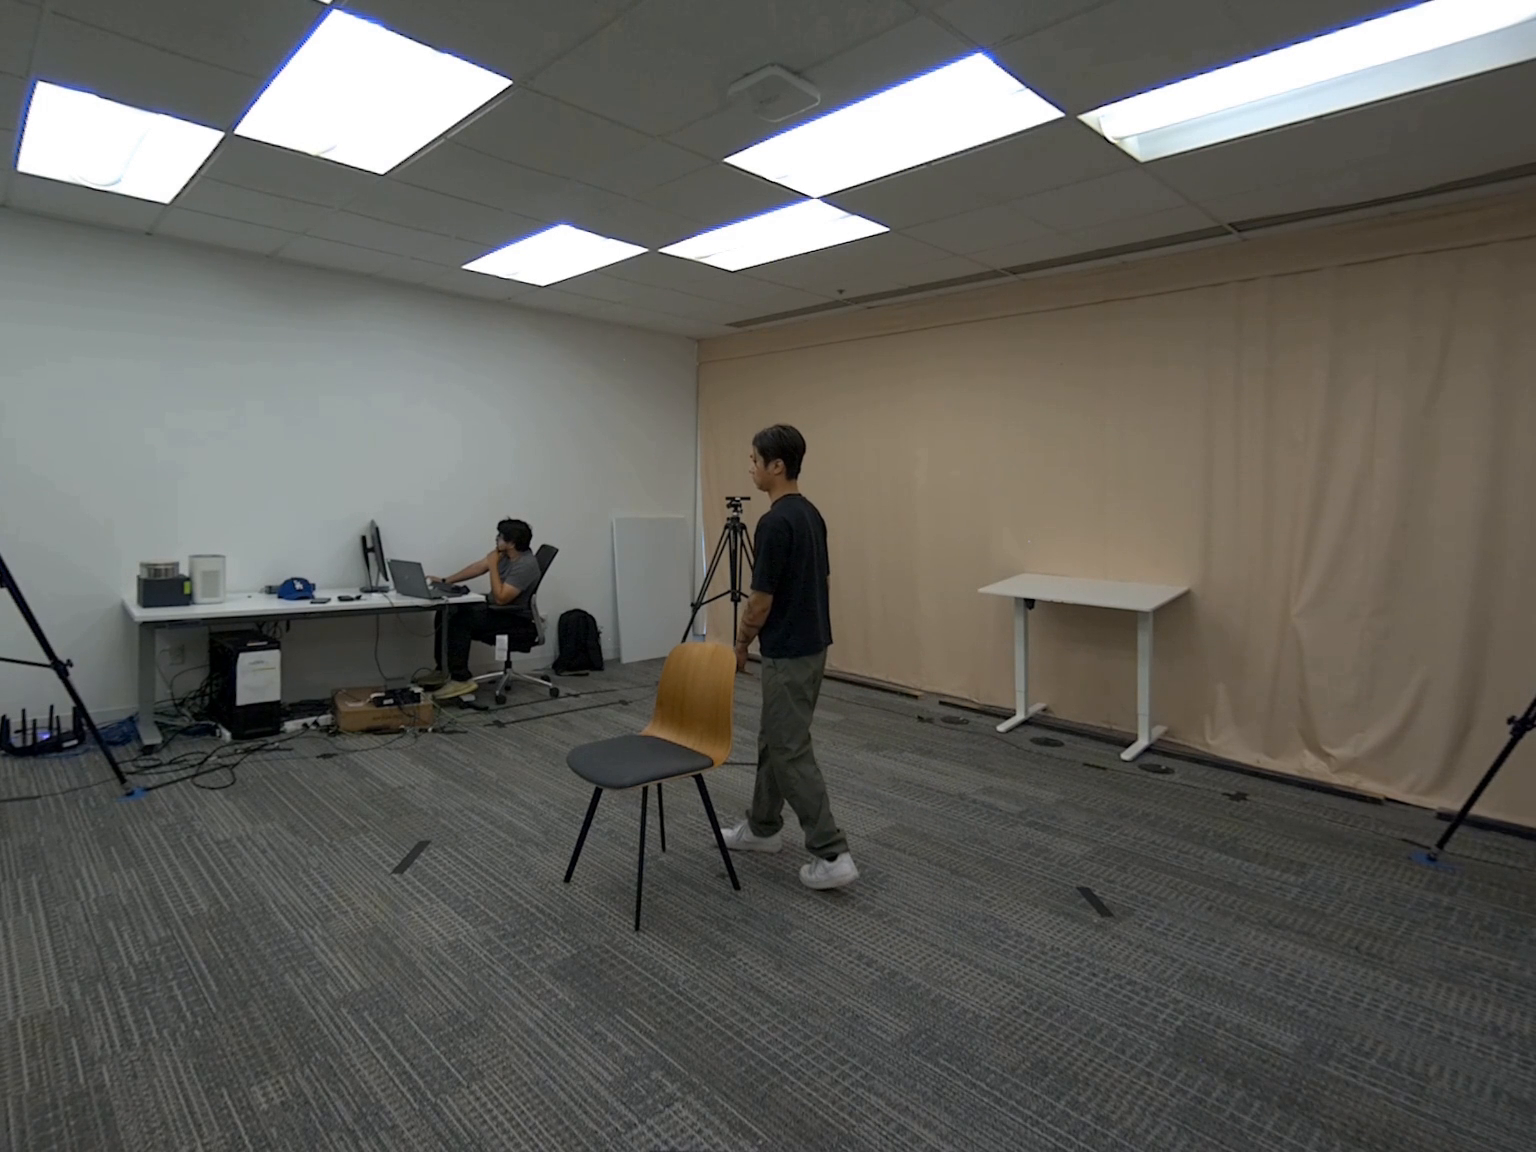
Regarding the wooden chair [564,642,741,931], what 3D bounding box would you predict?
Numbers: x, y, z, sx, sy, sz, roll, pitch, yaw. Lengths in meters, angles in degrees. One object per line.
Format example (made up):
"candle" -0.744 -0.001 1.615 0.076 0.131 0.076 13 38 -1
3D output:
"wooden chair" -0.415 0.686 2.963 0.510 0.877 0.490 4 1 -43
